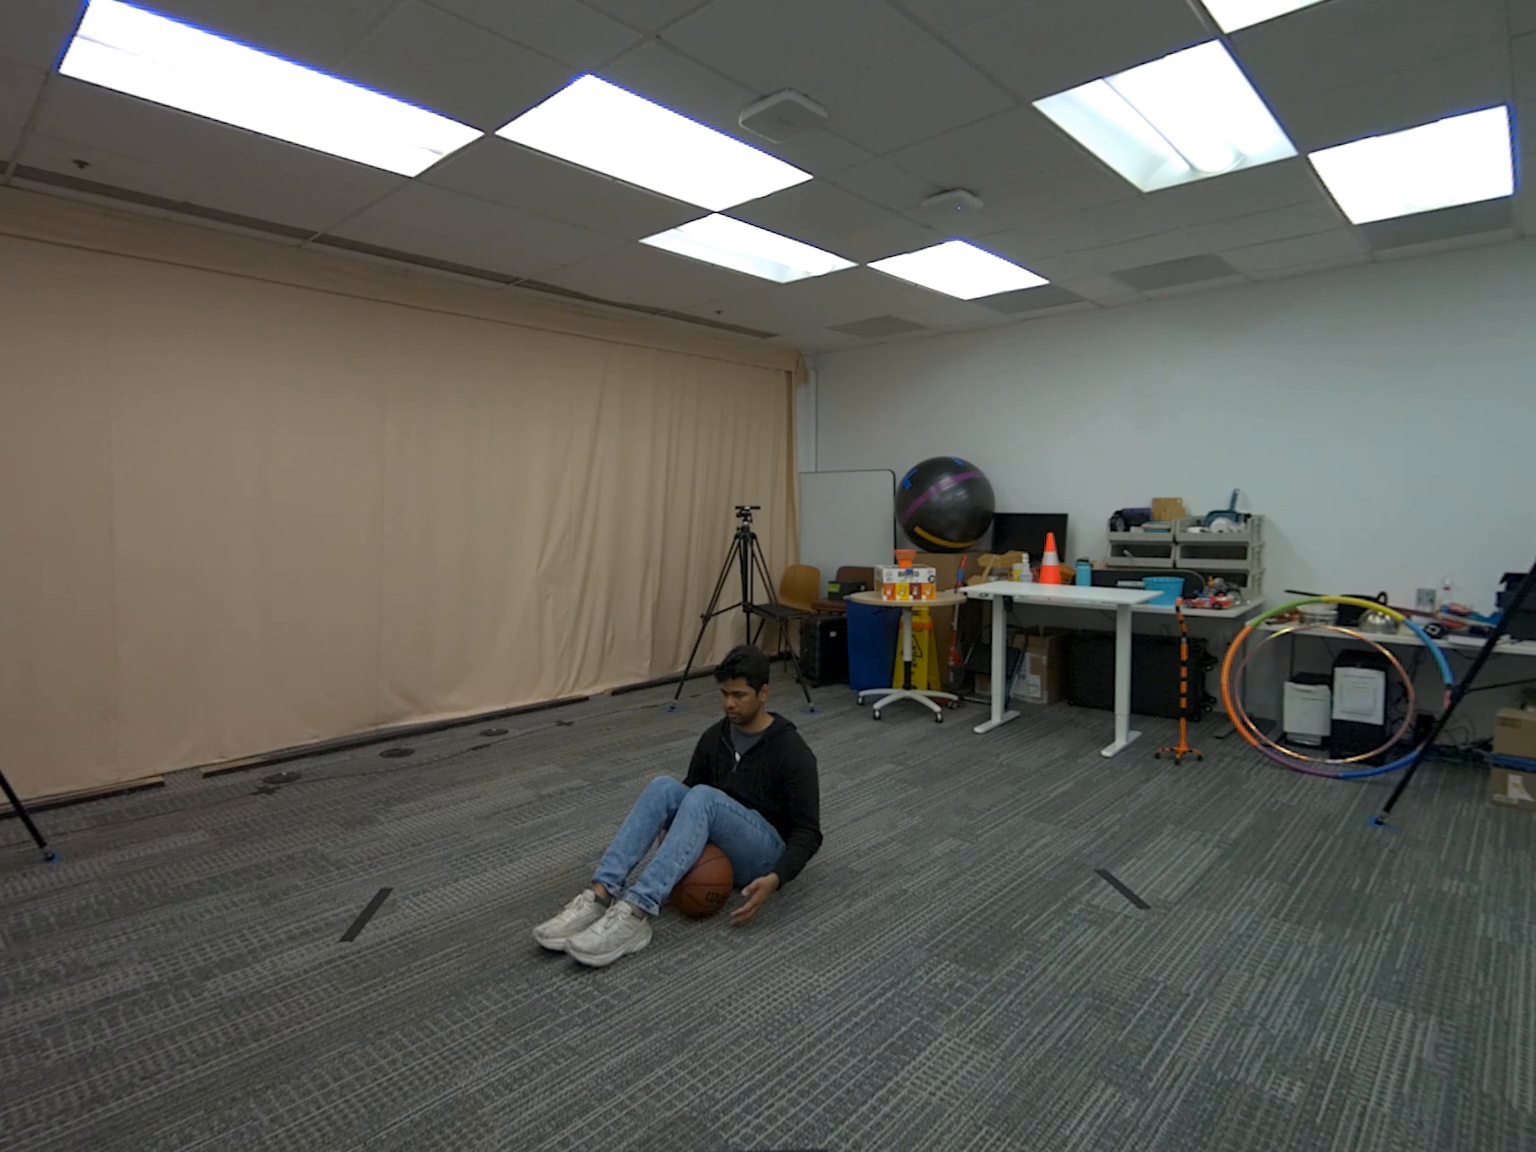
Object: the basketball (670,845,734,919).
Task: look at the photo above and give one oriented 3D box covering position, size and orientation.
[{"bbox_3d":[-0.248,1.035,2.879,0.236,0.235,0.237,0,4,-2],"label":"basketball"}]
